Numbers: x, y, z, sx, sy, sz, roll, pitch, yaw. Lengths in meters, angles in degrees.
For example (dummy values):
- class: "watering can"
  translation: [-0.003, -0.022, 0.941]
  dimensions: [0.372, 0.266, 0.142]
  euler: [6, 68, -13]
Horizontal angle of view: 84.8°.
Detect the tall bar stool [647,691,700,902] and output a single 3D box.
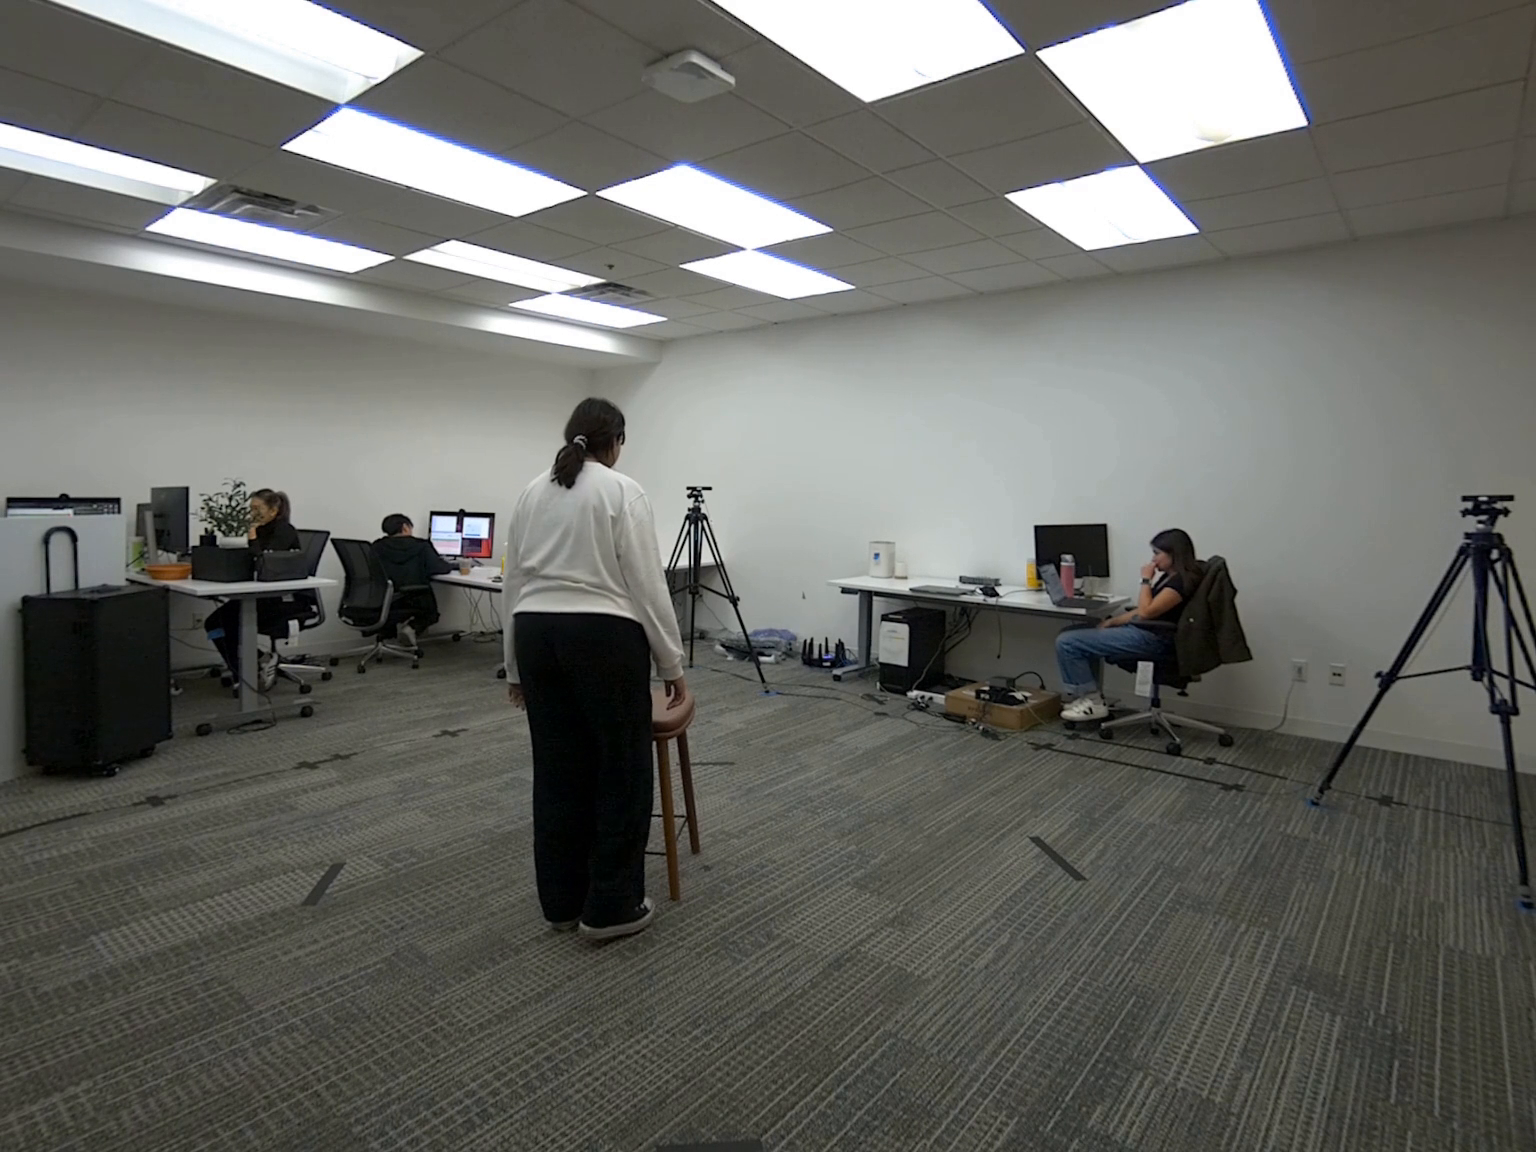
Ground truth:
- class: "tall bar stool"
  translation: [-0.500, 0.633, 3.068]
  dimensions: [0.473, 0.887, 0.453]
  euler: [0, 3, 9]
